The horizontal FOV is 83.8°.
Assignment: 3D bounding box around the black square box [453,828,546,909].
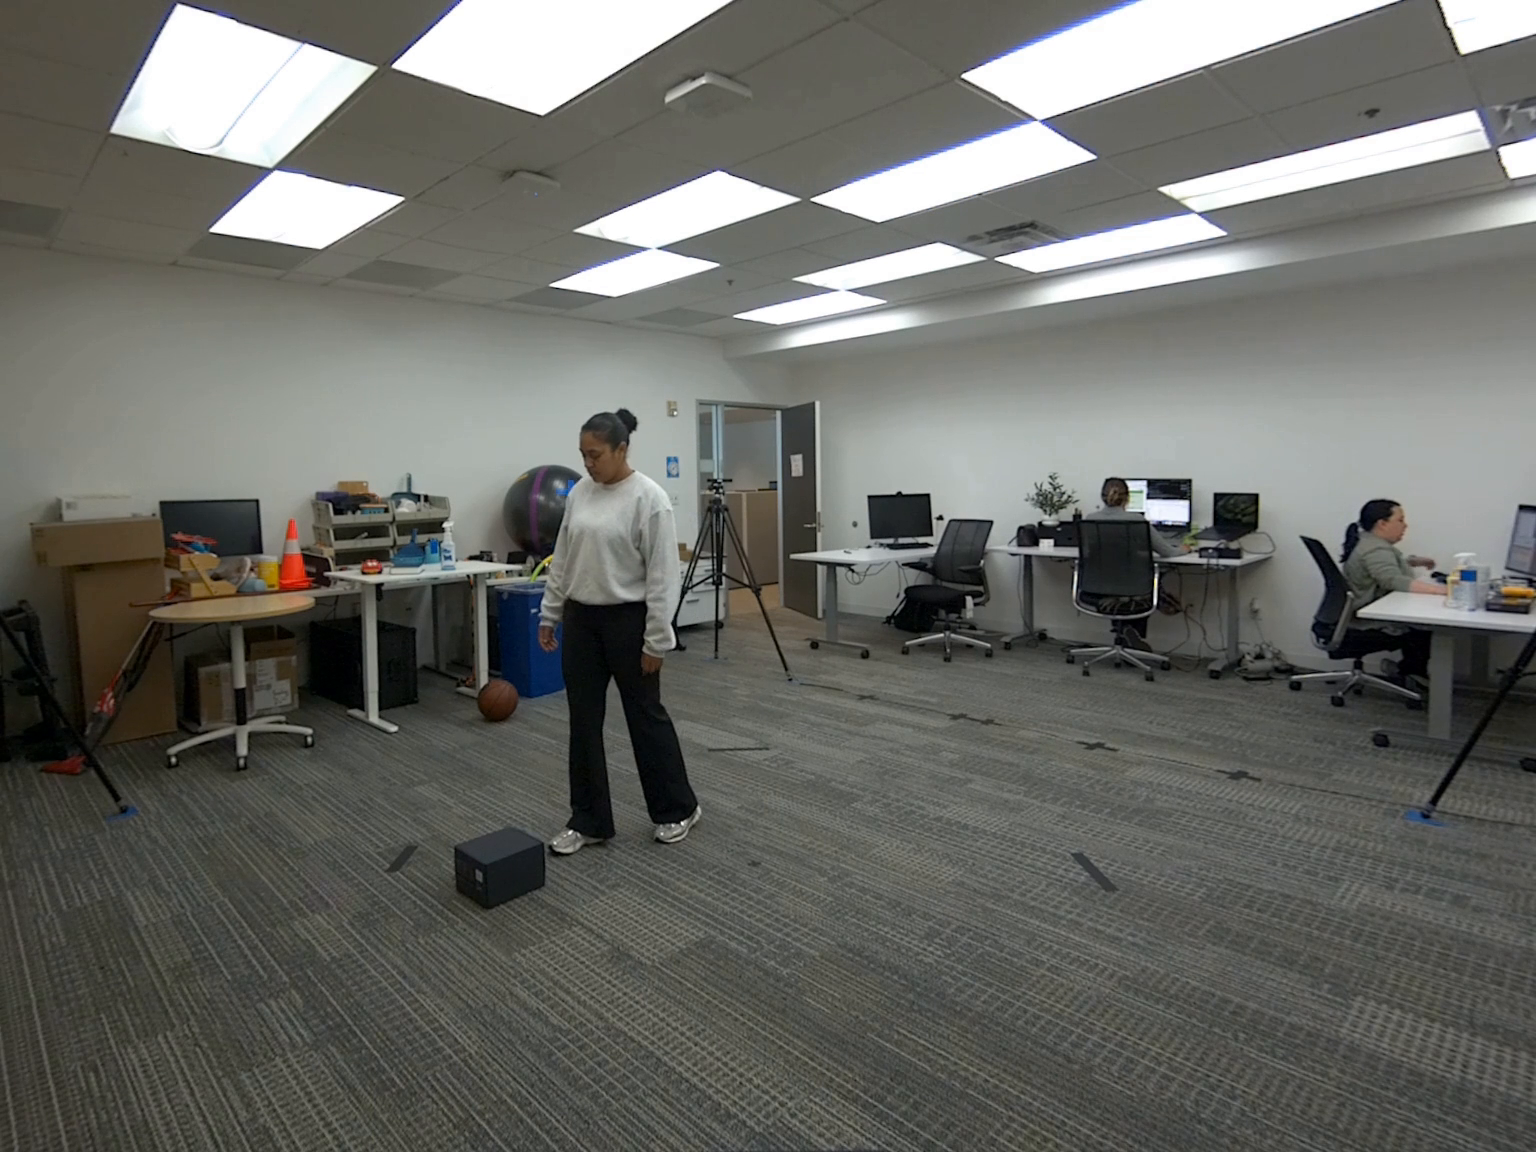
[{"bbox_3d":[-0.923,0.999,2.954,0.223,0.155,0.222,3,7,43],"label":"black square box"}]
